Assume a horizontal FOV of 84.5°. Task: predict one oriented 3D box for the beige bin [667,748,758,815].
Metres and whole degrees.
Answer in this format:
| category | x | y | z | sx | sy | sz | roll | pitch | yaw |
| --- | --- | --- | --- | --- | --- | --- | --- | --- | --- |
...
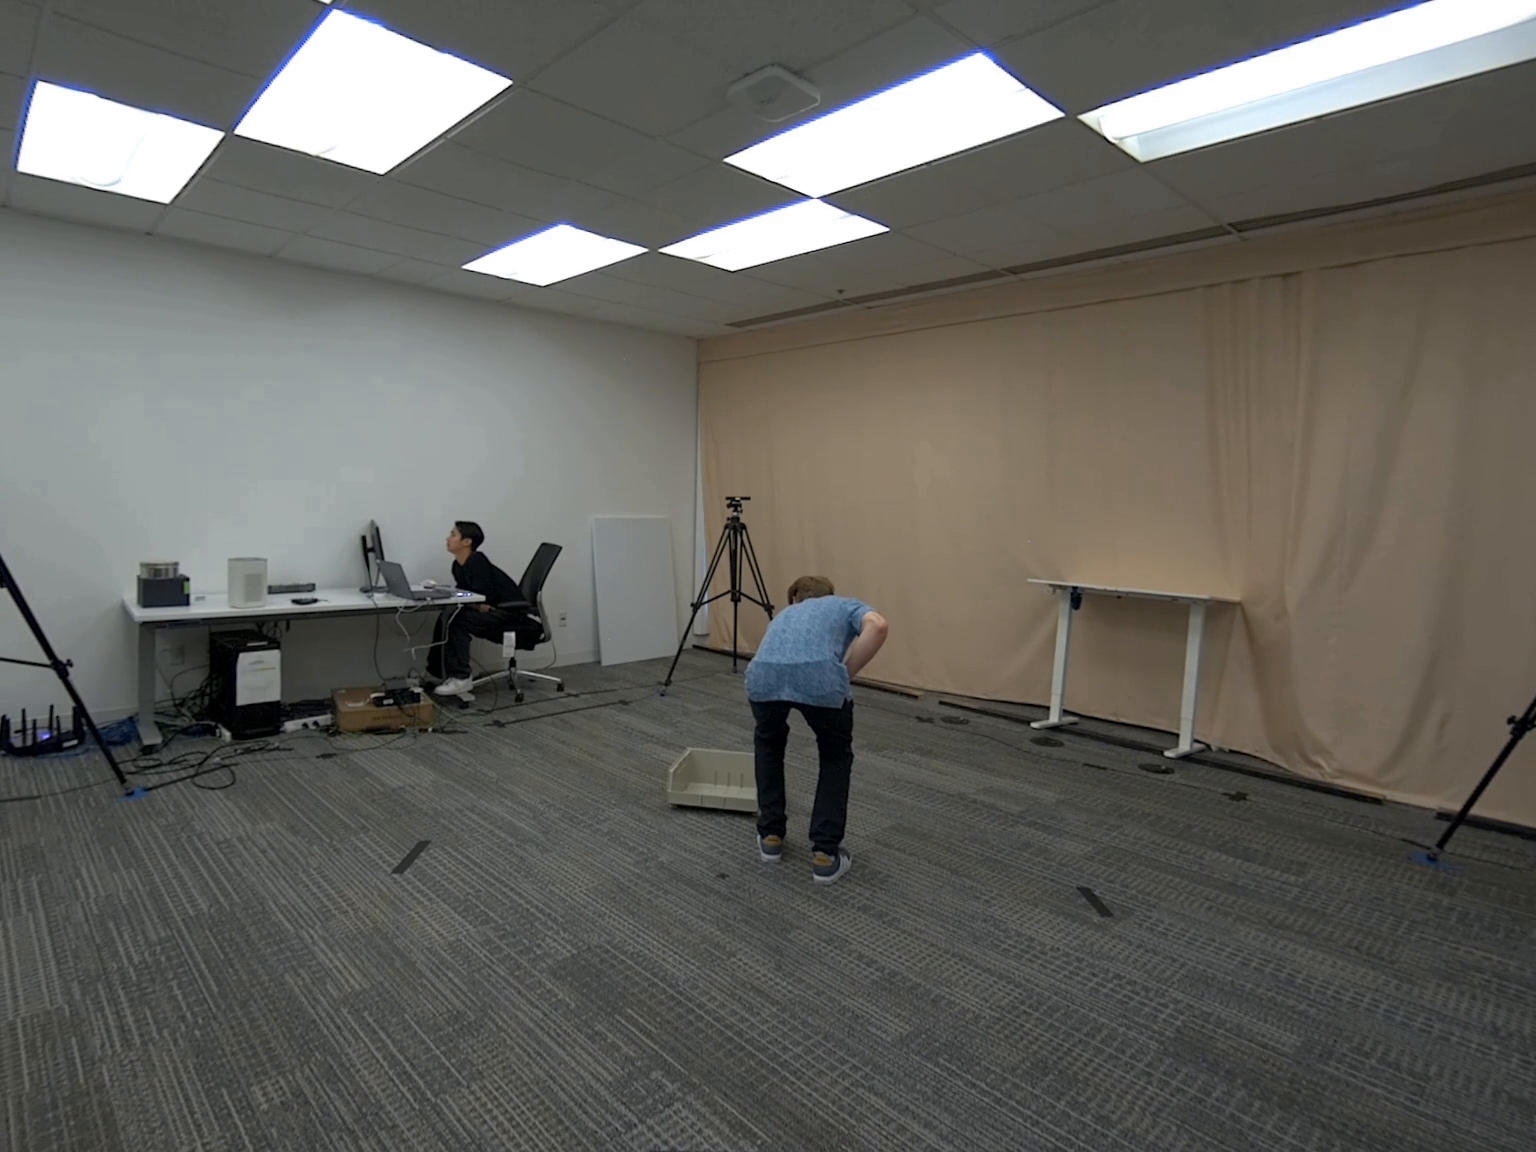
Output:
| category | x | y | z | sx | sy | sz | roll | pitch | yaw |
| --- | --- | --- | --- | --- | --- | --- | --- | --- | --- |
| beige bin | -0.222 | 0.950 | 3.879 | 0.426 | 0.188 | 0.375 | 2 | 4 | 10 |
